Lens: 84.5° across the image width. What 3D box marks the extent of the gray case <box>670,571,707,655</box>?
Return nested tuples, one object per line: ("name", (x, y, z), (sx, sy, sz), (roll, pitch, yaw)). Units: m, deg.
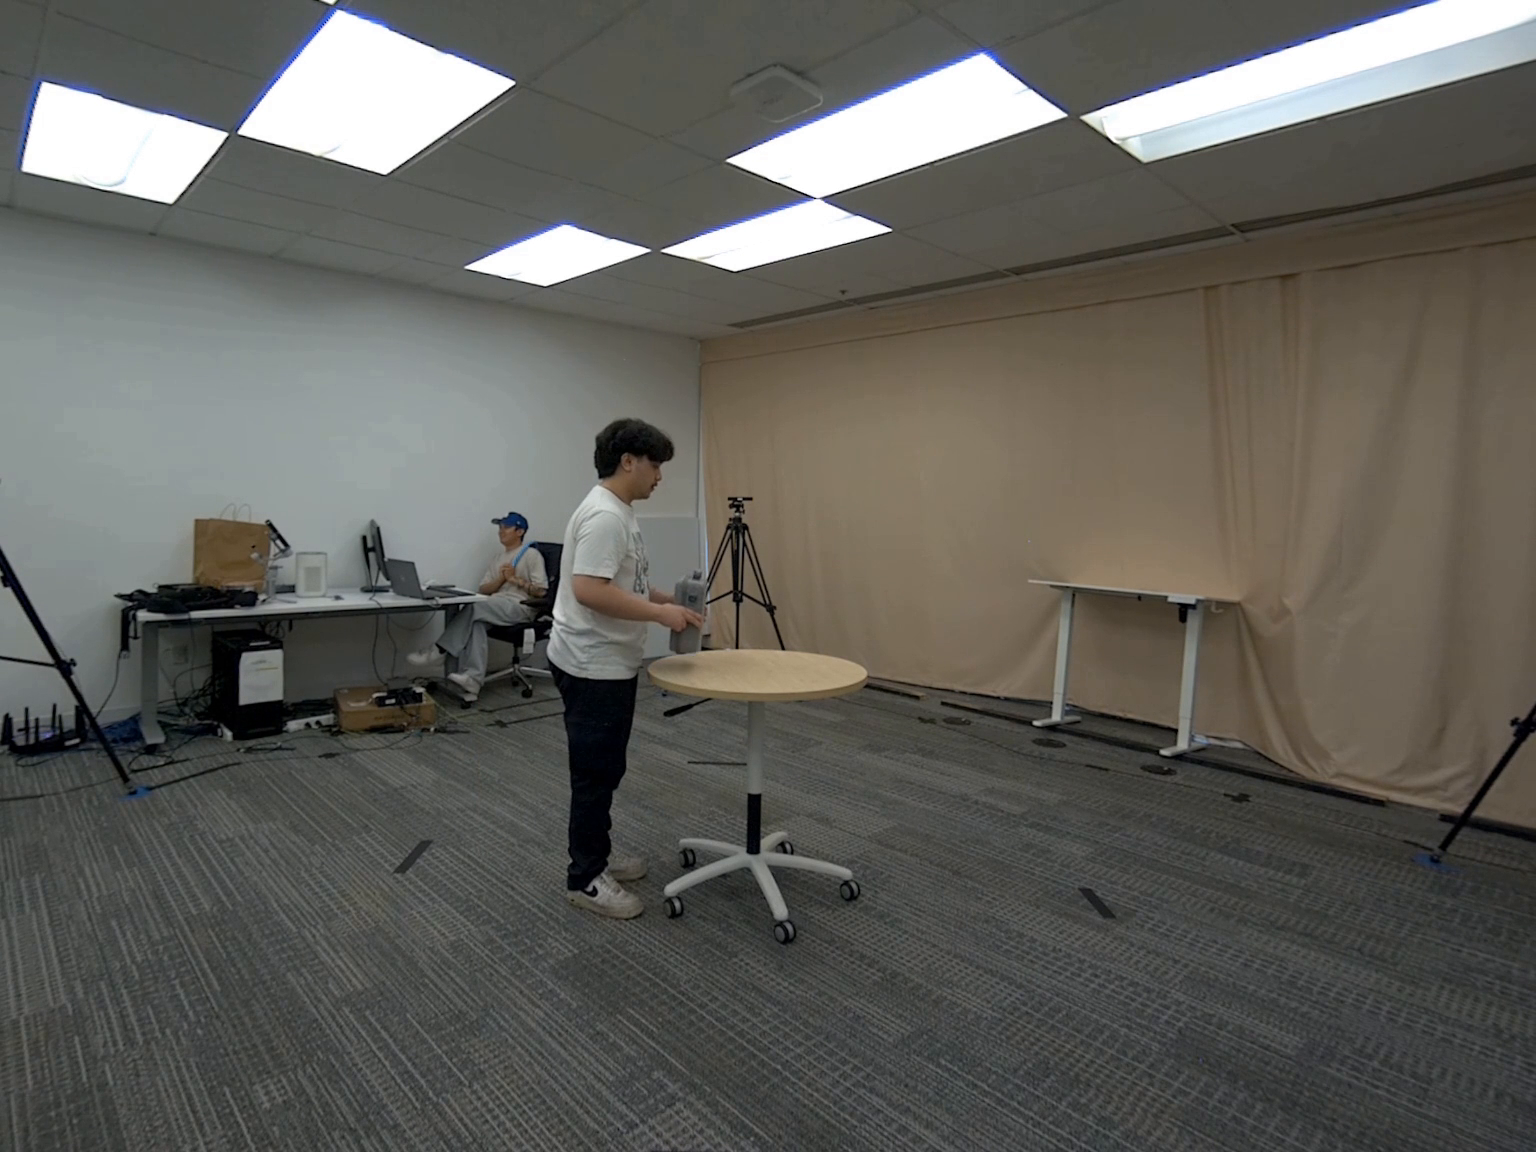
("gray case", (-0.286, 0.125, 2.946), (0.104, 0.259, 0.258), (7, 7, -3))
